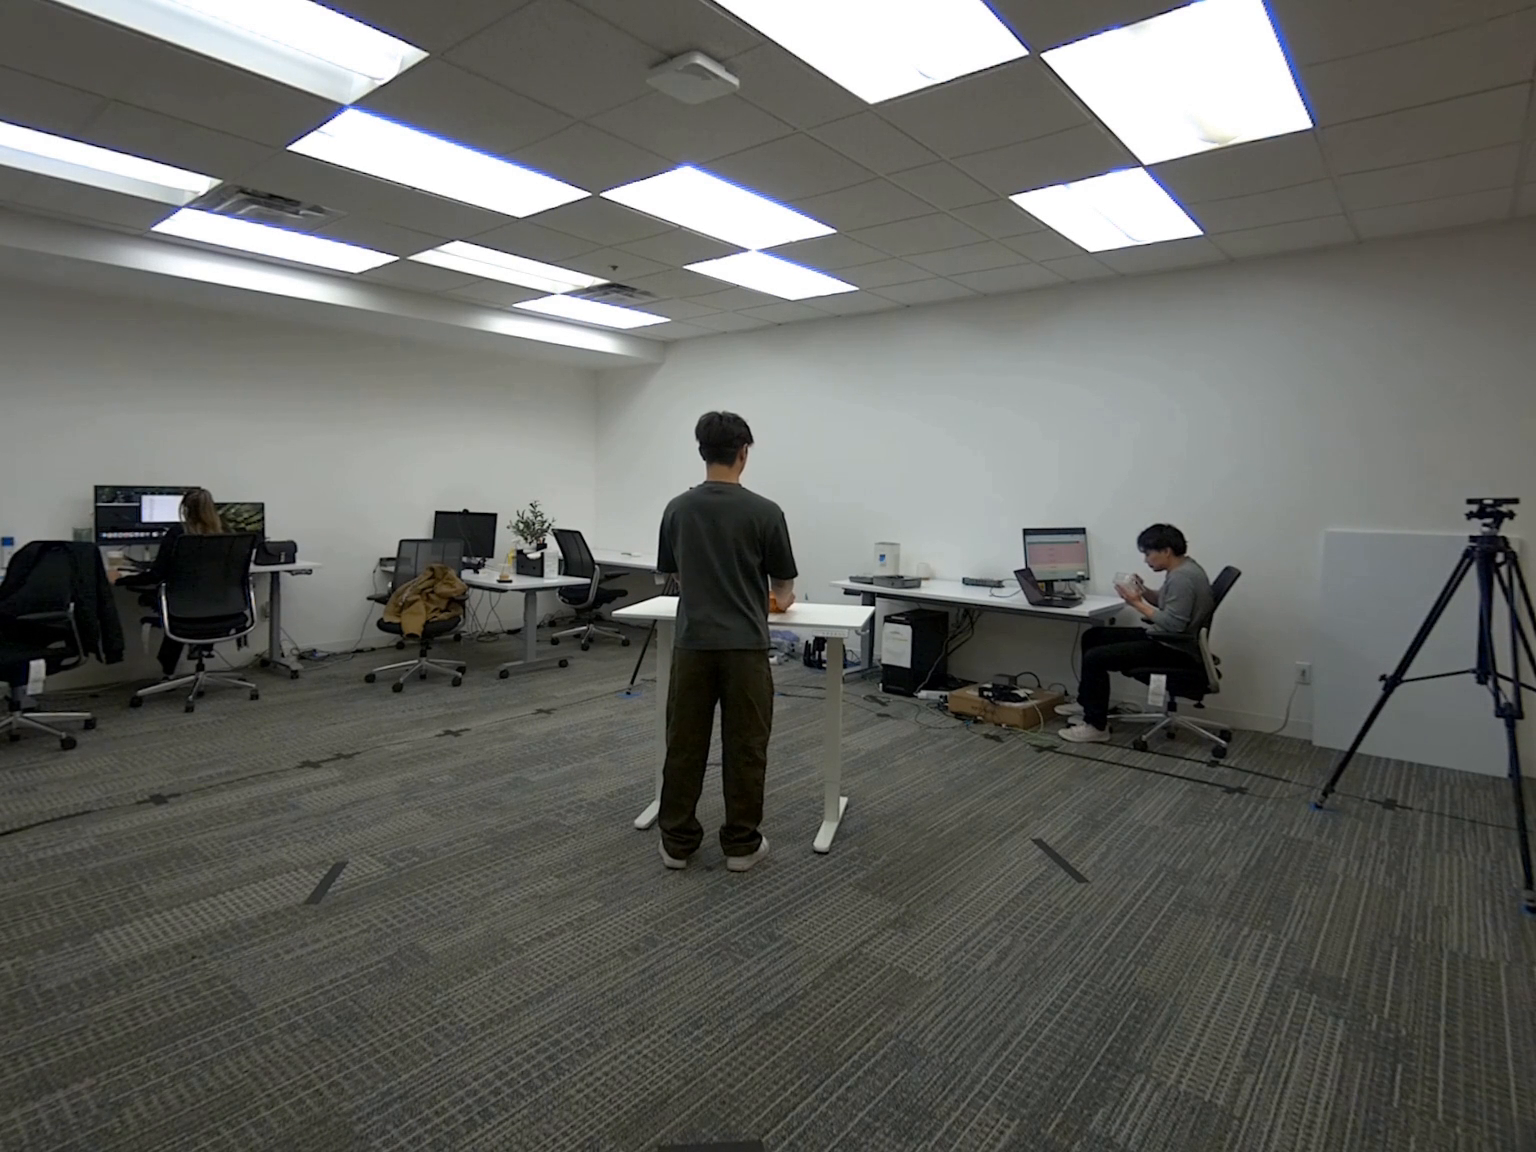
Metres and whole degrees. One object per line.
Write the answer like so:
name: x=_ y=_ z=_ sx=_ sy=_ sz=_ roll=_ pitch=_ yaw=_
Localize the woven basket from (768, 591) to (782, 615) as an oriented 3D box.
woven basket: x=-0.080 y=0.102 z=3.589 sx=0.358 sy=0.073 sz=0.247 roll=2 pitch=5 yaw=21
